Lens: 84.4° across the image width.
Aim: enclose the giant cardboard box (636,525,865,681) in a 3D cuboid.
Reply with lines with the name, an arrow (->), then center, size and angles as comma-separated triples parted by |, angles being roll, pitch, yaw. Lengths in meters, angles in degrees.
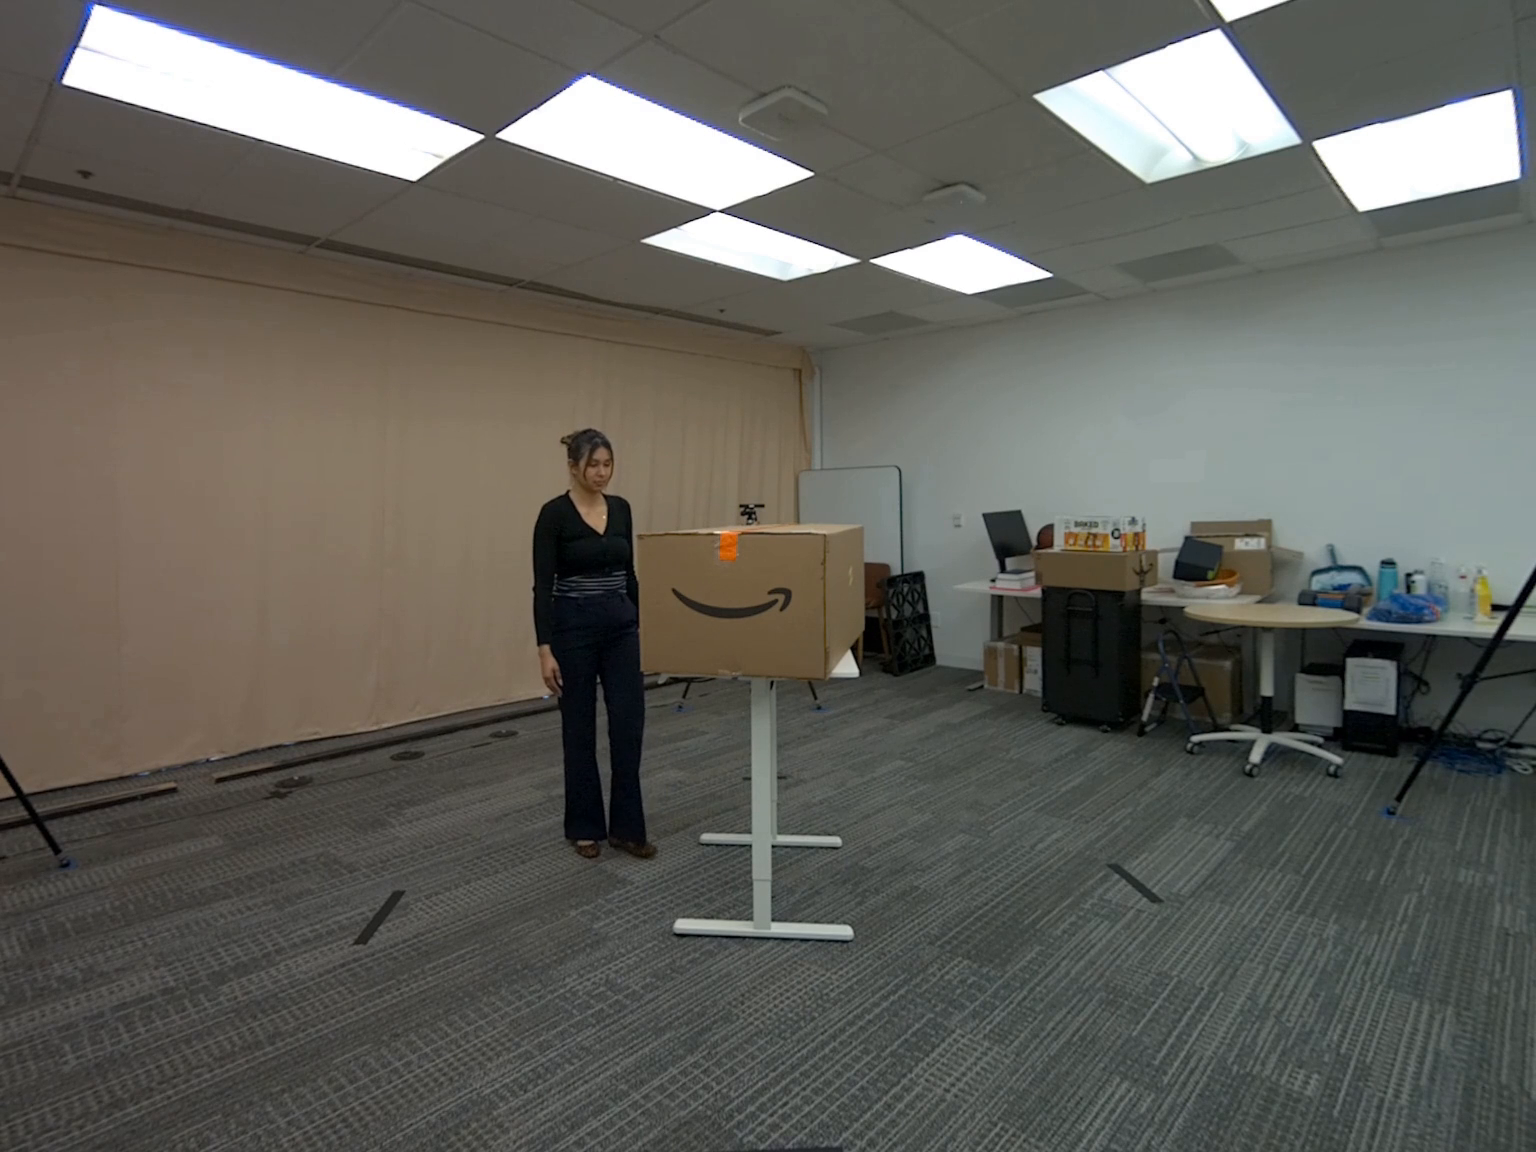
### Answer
giant cardboard box -> 0.002, 0.045, 2.964 | 0.588, 0.425, 1.010 | 0, 4, 15
